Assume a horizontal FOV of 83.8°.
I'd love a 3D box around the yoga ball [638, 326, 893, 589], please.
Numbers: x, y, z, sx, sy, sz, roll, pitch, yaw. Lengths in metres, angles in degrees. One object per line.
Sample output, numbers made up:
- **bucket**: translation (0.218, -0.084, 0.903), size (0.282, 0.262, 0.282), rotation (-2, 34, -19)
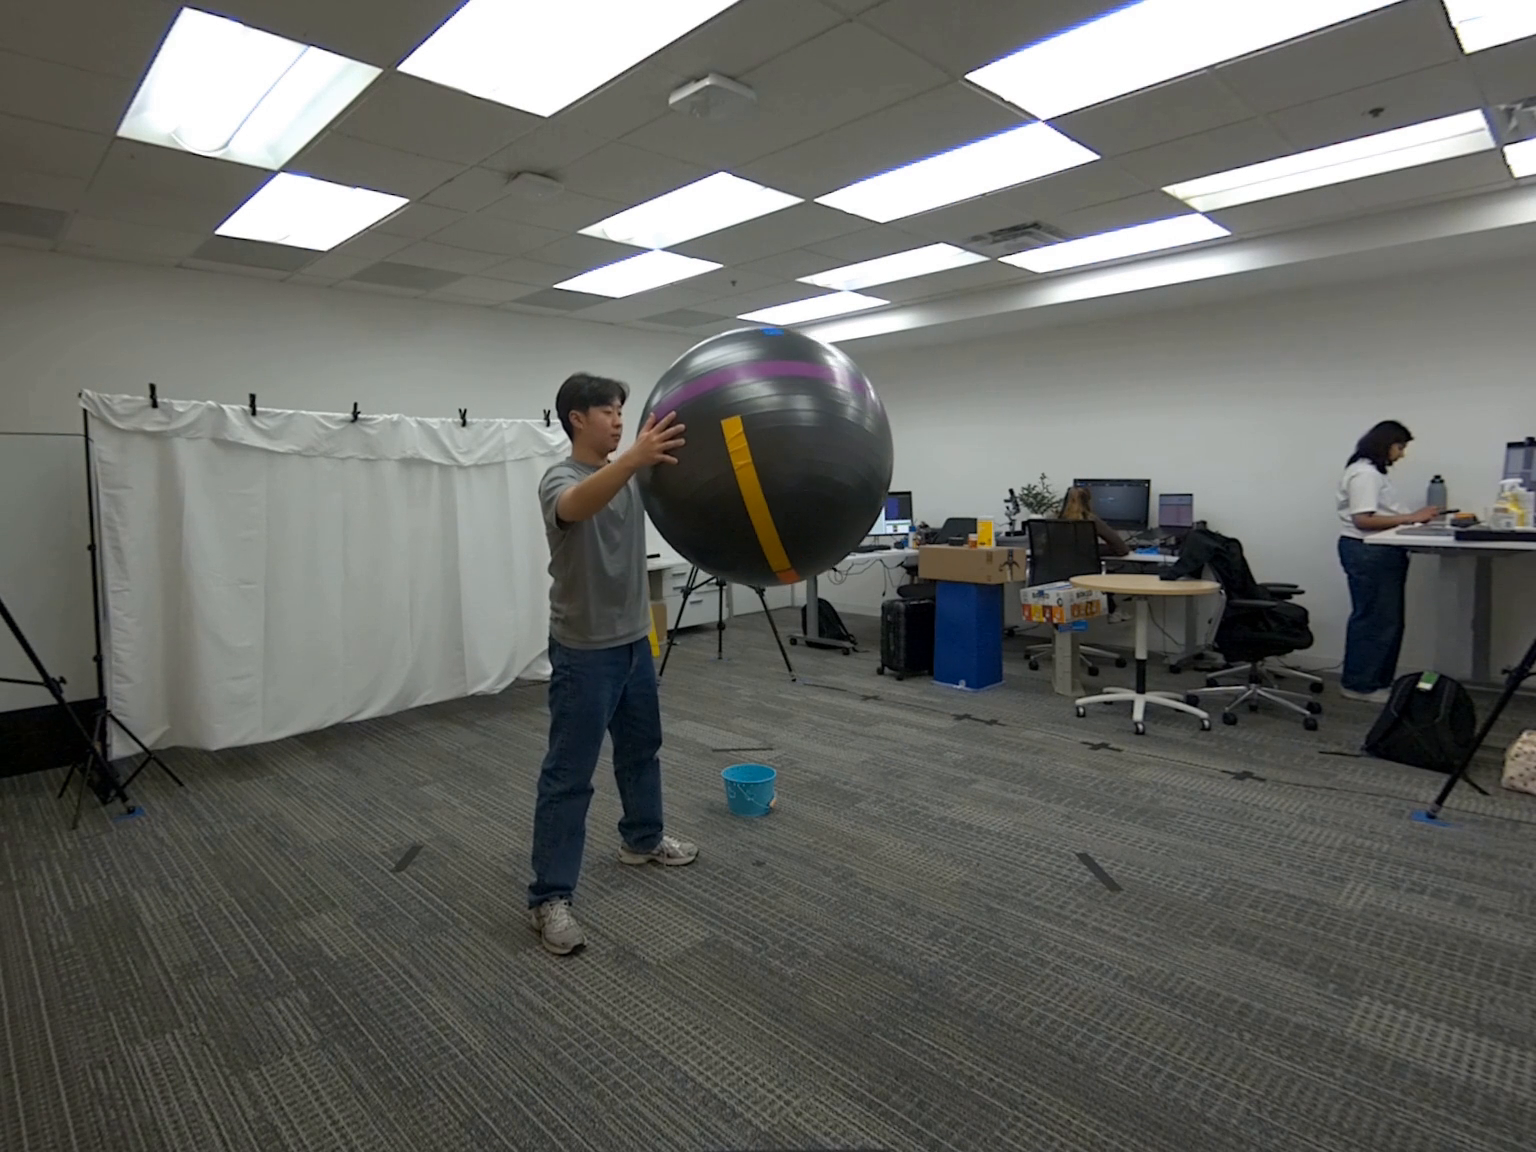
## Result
- **yoga ball**: translation (-0.012, -0.325, 2.510), size (0.757, 0.755, 0.762), rotation (-1, 5, -2)
